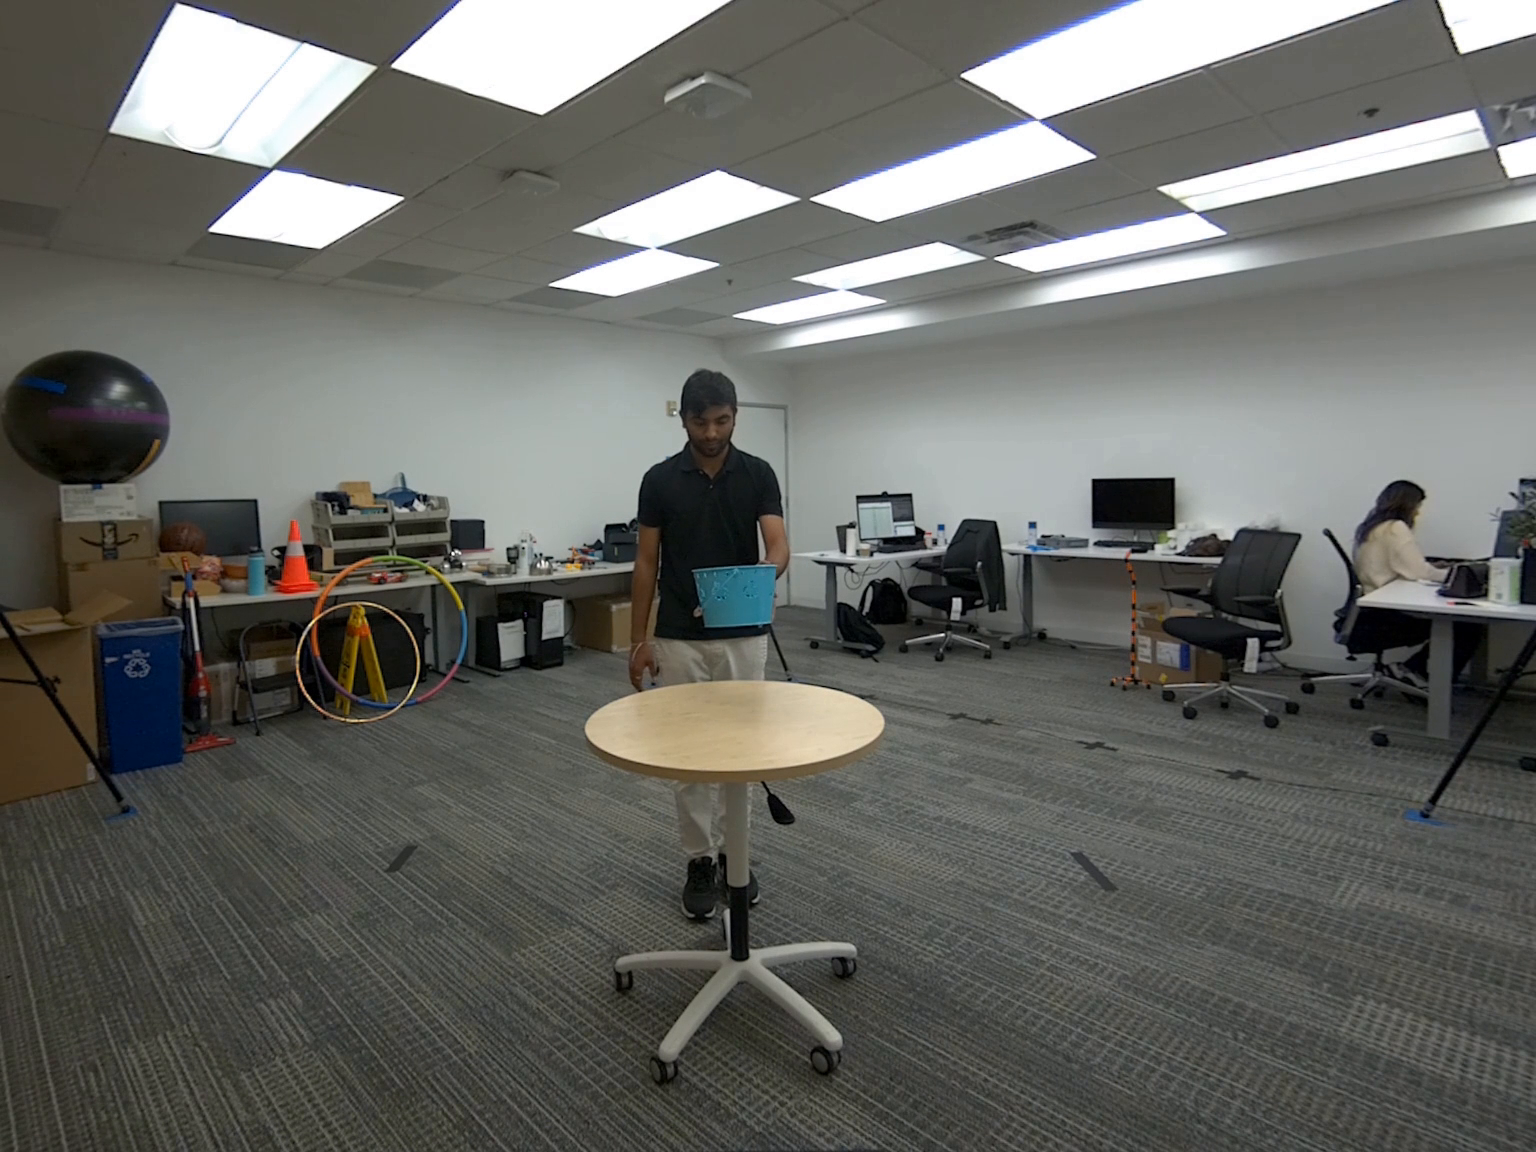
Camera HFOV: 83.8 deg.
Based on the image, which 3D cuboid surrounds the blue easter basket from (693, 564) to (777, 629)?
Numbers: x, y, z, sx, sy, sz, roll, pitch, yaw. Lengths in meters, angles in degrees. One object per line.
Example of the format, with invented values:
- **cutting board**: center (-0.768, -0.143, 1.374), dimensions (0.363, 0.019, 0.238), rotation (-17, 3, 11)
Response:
- **blue easter basket**: center (-0.079, 0.057, 2.311), dimensions (0.243, 0.156, 0.243), rotation (-5, -1, -2)
